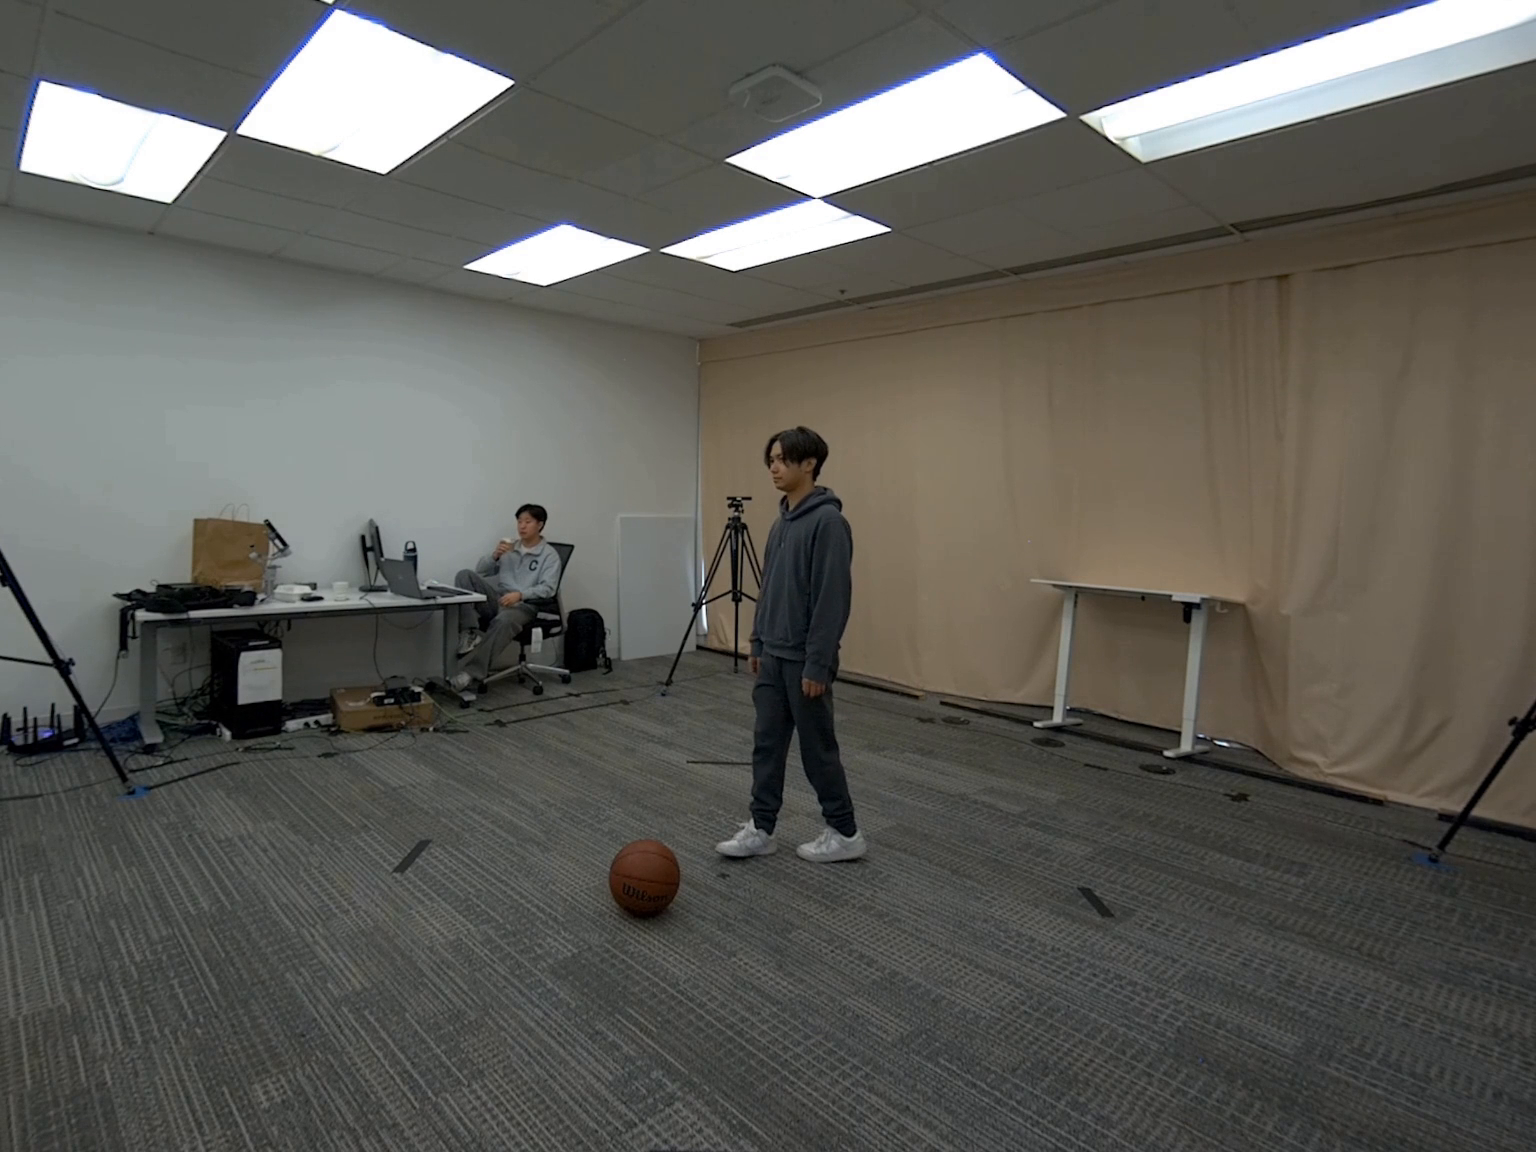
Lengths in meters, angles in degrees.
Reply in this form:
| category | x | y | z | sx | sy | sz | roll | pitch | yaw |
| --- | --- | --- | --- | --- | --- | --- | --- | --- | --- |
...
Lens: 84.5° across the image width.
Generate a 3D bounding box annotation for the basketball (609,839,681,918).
| category | x | y | z | sx | sy | sz | roll | pitch | yaw |
| --- | --- | --- | --- | --- | --- | --- | --- | --- | --- |
| basketball | -0.414 | 1.005 | 2.812 | 0.236 | 0.235 | 0.237 | 1 | 4 | -1 |
